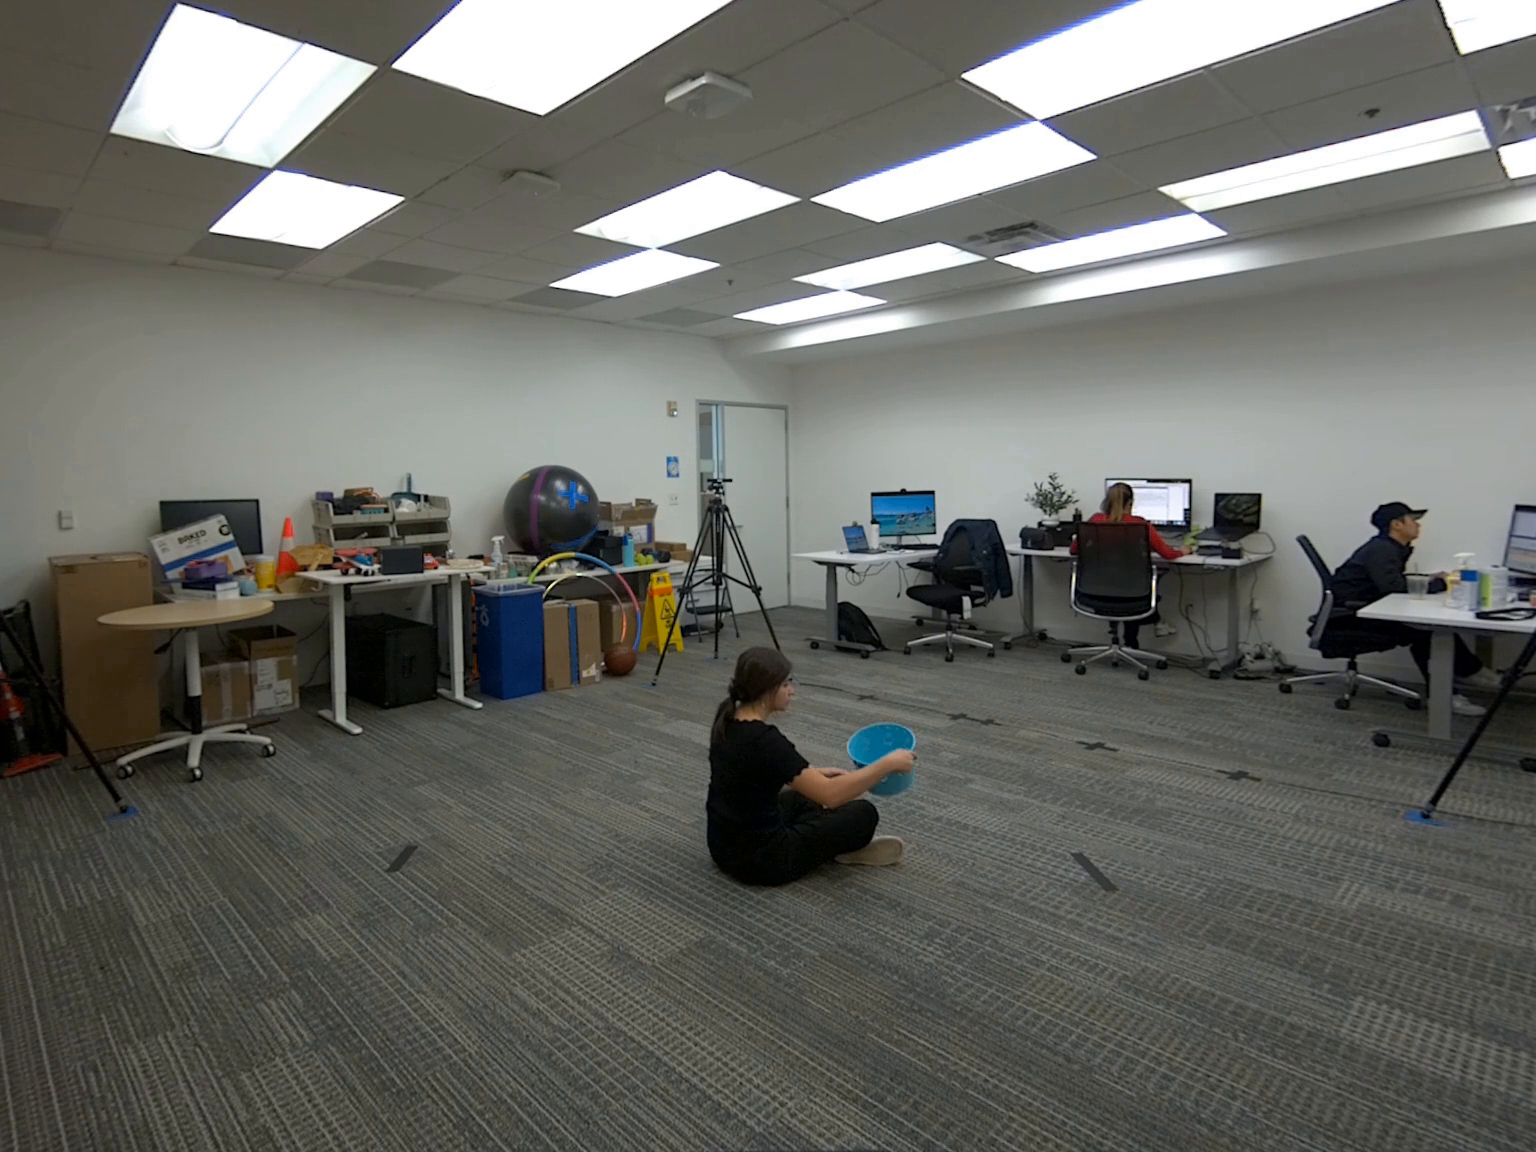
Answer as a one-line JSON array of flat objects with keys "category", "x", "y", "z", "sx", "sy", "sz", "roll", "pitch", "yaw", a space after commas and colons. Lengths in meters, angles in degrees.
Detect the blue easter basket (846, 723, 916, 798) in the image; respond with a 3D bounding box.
[{"category": "blue easter basket", "x": 0.386, "y": 0.657, "z": 2.957, "sx": 0.244, "sy": 0.152, "sz": 0.248, "roll": -15, "pitch": 23, "yaw": 5}]
